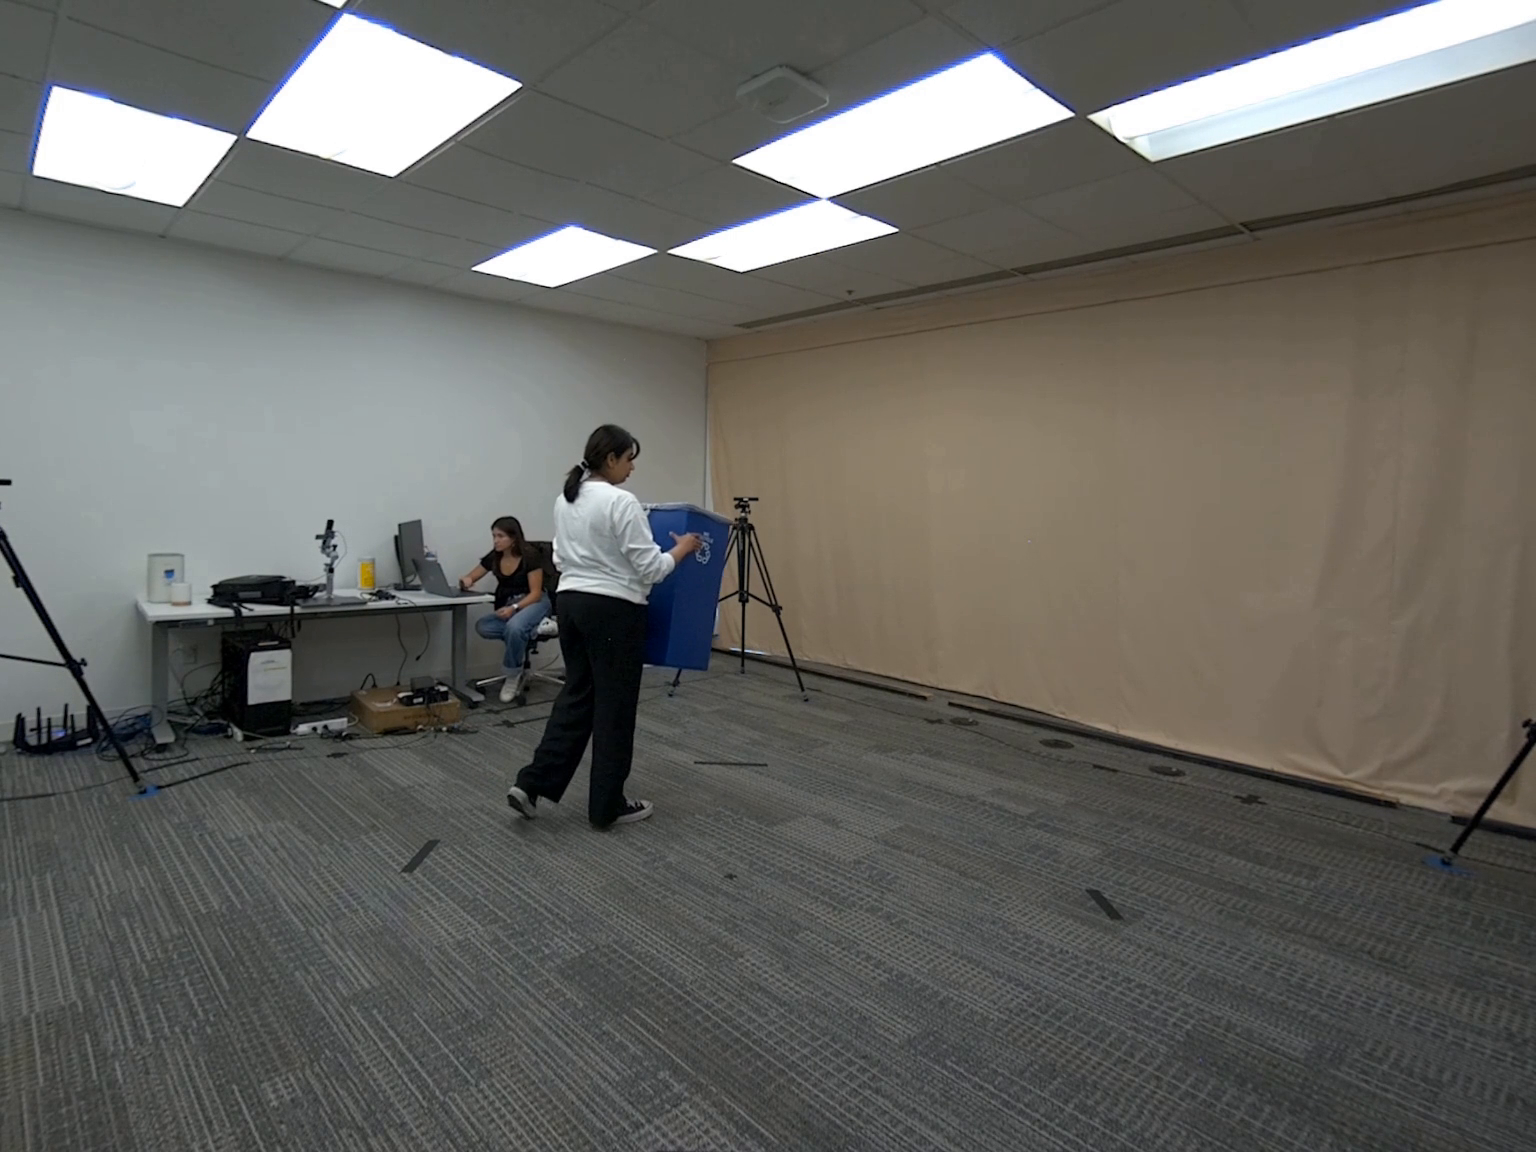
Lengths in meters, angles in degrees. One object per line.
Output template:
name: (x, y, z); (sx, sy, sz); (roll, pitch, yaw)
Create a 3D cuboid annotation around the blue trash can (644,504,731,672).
blue trash can: (-0.449, 0.055, 3.868); (0.386, 0.717, 0.364); (1, -9, 34)
